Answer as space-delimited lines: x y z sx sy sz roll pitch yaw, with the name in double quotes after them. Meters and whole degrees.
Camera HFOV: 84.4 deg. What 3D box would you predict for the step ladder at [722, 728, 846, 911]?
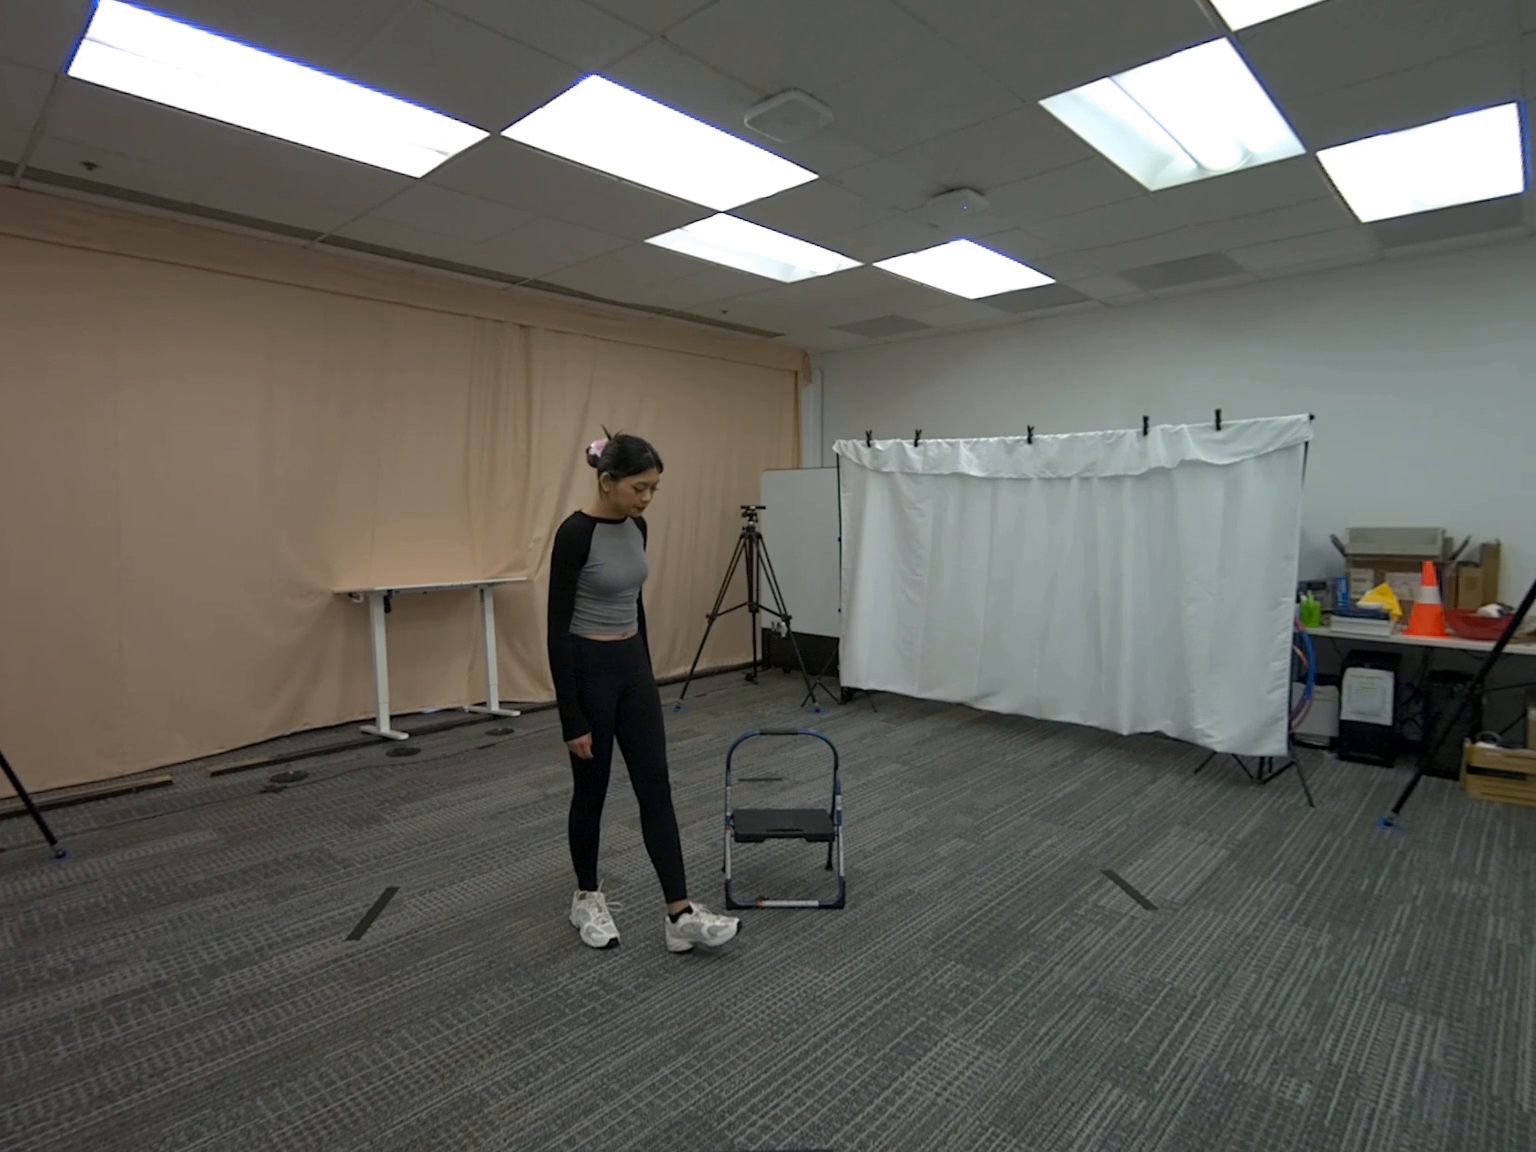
0.051 0.837 3.054 0.430 0.605 0.351 0 3 -2 "step ladder"
